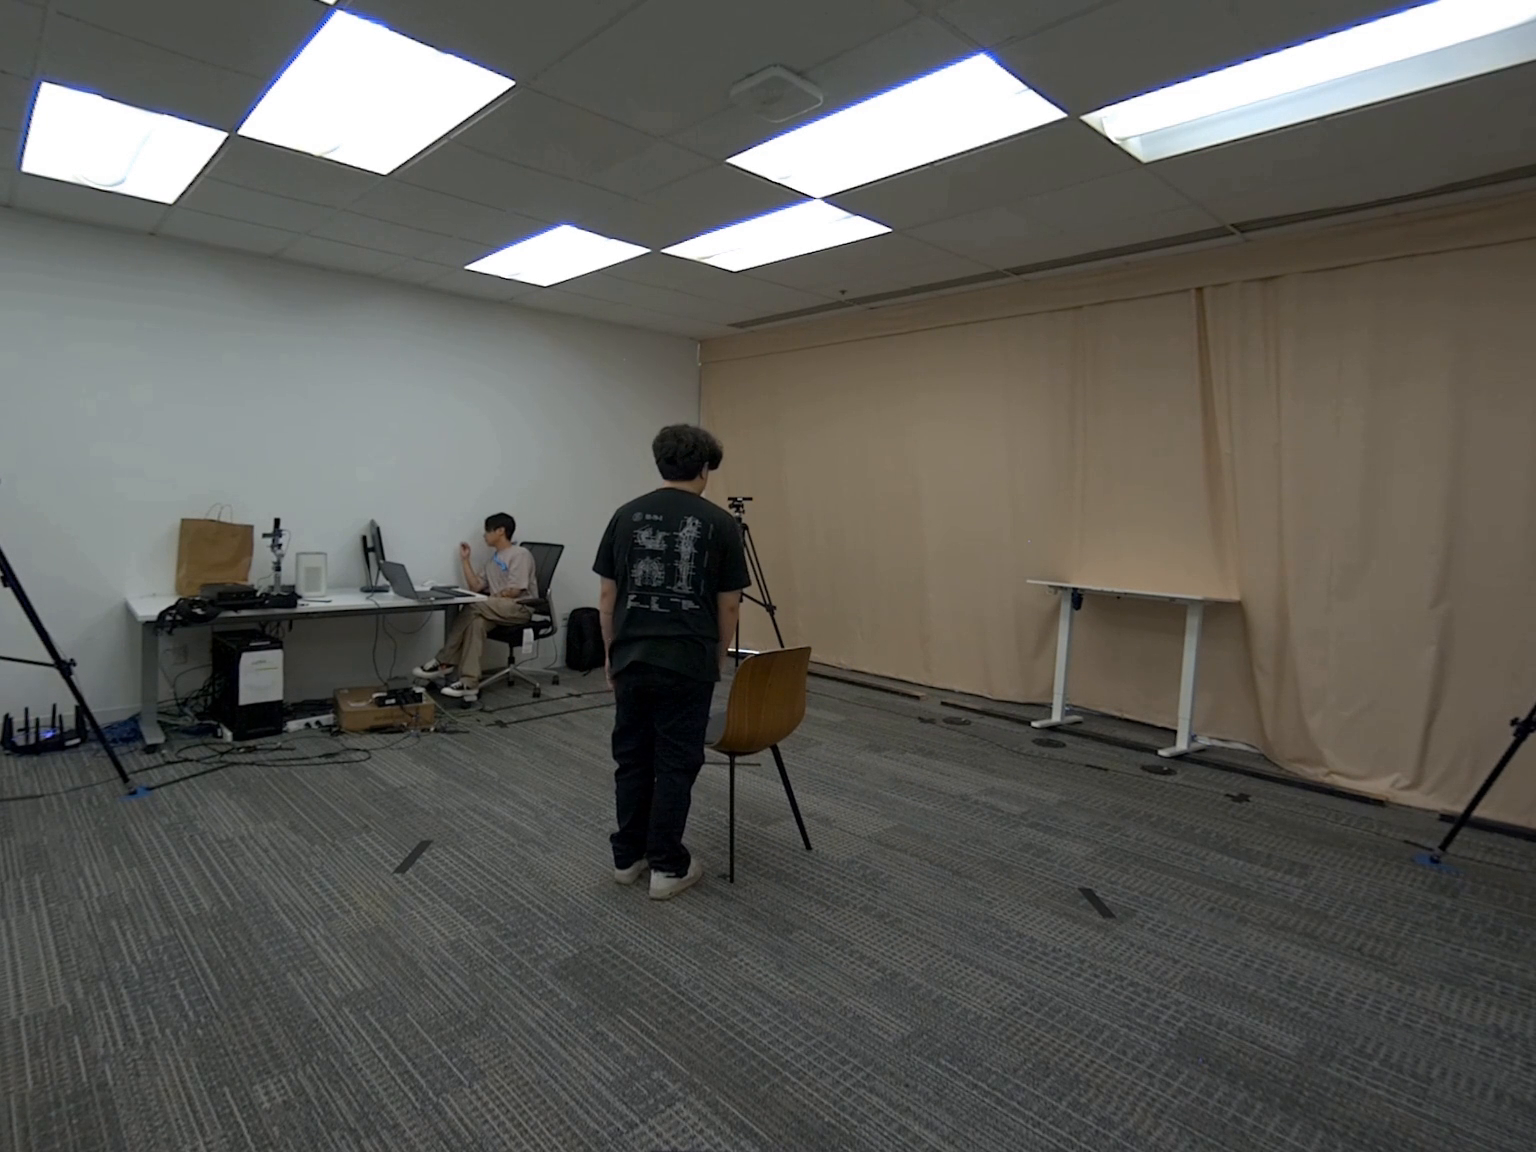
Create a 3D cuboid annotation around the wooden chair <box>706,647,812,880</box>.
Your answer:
[{"bbox_3d":[-0.142,0.659,3.334,0.537,0.873,0.467,11,9,44],"label":"wooden chair"}]
